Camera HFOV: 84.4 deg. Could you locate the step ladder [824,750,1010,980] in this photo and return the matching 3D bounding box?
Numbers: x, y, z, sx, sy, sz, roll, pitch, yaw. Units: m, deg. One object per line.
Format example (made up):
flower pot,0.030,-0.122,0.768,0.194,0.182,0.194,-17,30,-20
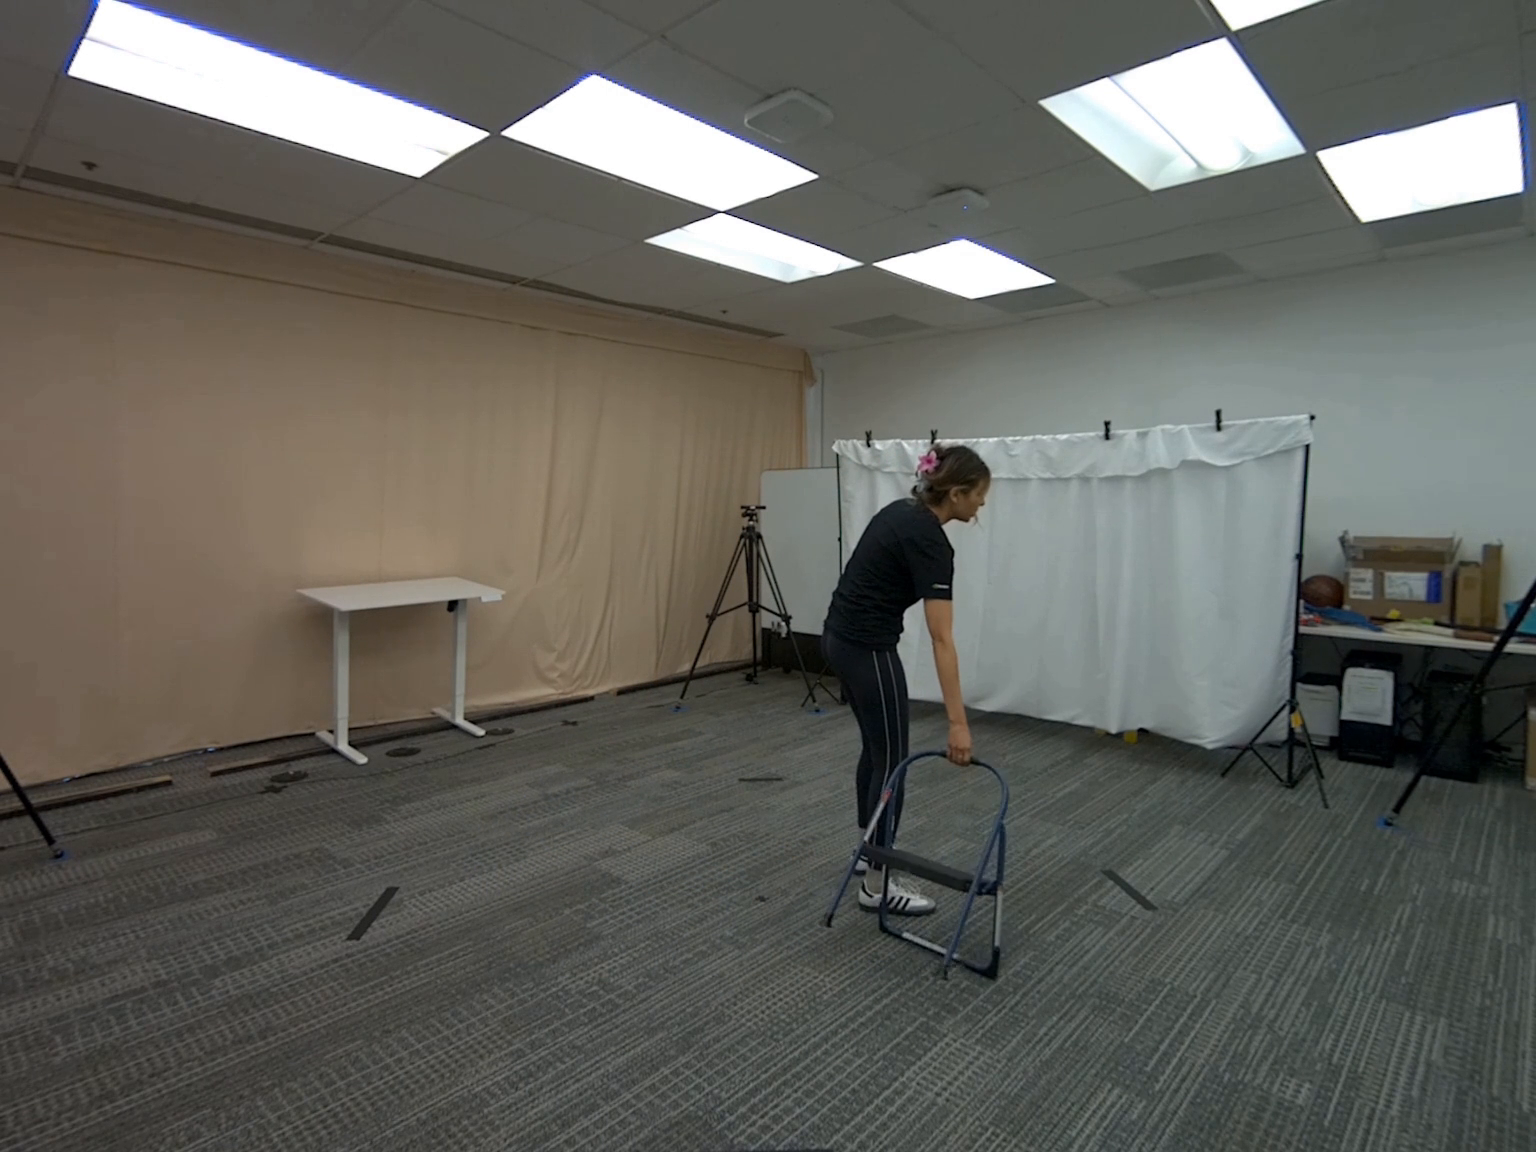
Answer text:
step ladder,0.501,0.835,2.578,0.445,0.608,0.336,4,-17,43
